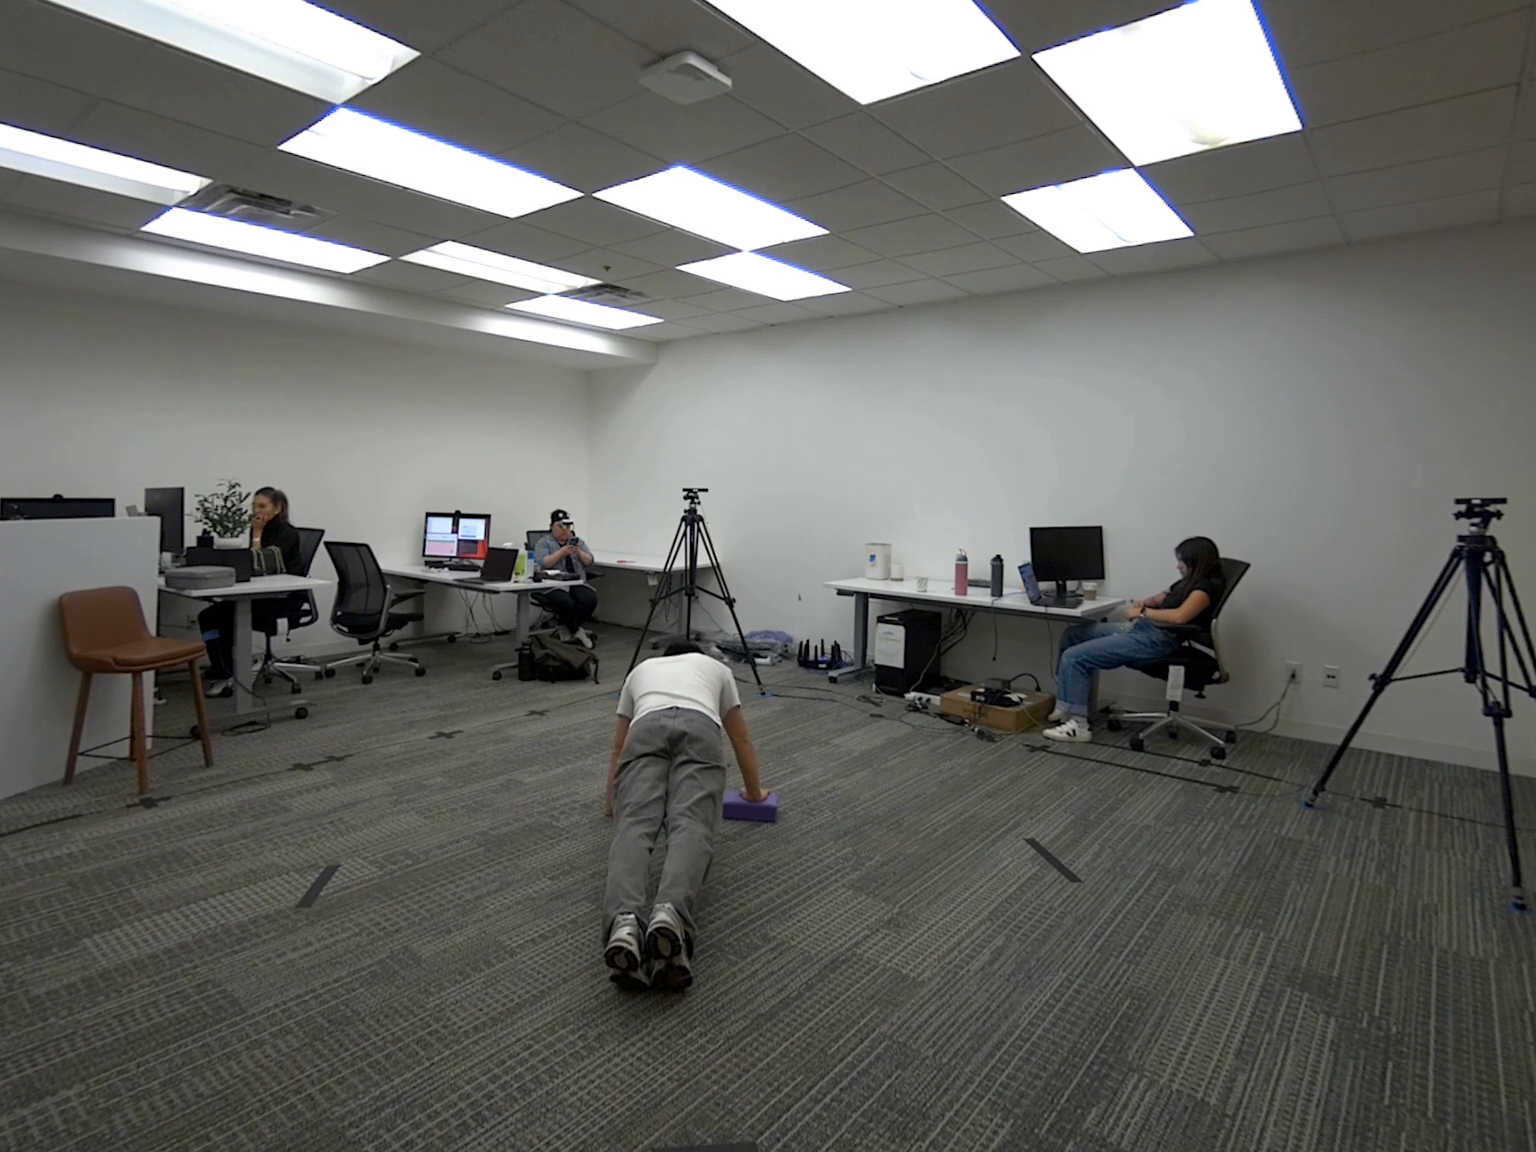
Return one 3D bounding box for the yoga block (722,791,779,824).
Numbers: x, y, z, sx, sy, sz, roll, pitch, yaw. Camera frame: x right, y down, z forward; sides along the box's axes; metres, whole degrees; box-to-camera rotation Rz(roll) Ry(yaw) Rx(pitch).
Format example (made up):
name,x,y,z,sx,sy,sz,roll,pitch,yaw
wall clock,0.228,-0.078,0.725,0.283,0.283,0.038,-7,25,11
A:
name,x,y,z,sx,sy,sz,roll,pitch,yaw
yoga block,-0.072,0.980,3.650,0.231,0.076,0.148,0,6,8
